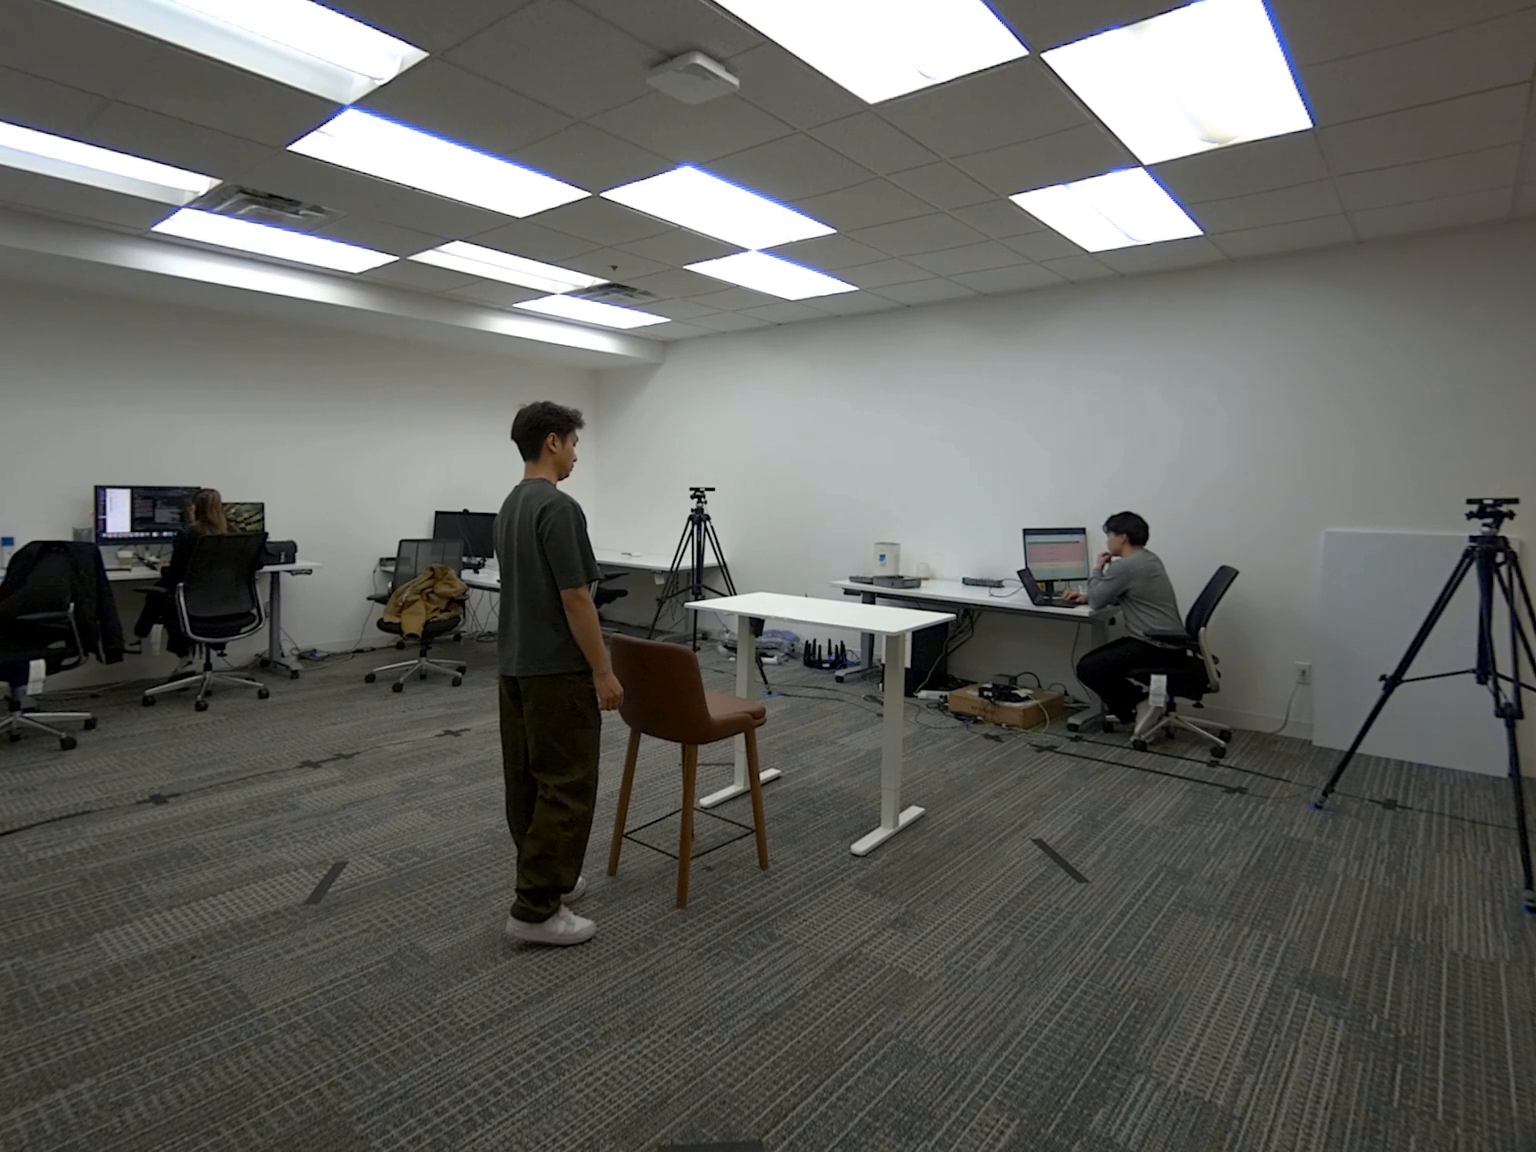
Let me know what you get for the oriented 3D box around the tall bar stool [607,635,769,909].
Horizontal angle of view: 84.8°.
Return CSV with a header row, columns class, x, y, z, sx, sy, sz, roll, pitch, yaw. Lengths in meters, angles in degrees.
class,x,y,z,sx,sy,sz,roll,pitch,yaw
tall bar stool,-0.301,0.633,3.065,0.472,0.886,0.454,3,5,40
